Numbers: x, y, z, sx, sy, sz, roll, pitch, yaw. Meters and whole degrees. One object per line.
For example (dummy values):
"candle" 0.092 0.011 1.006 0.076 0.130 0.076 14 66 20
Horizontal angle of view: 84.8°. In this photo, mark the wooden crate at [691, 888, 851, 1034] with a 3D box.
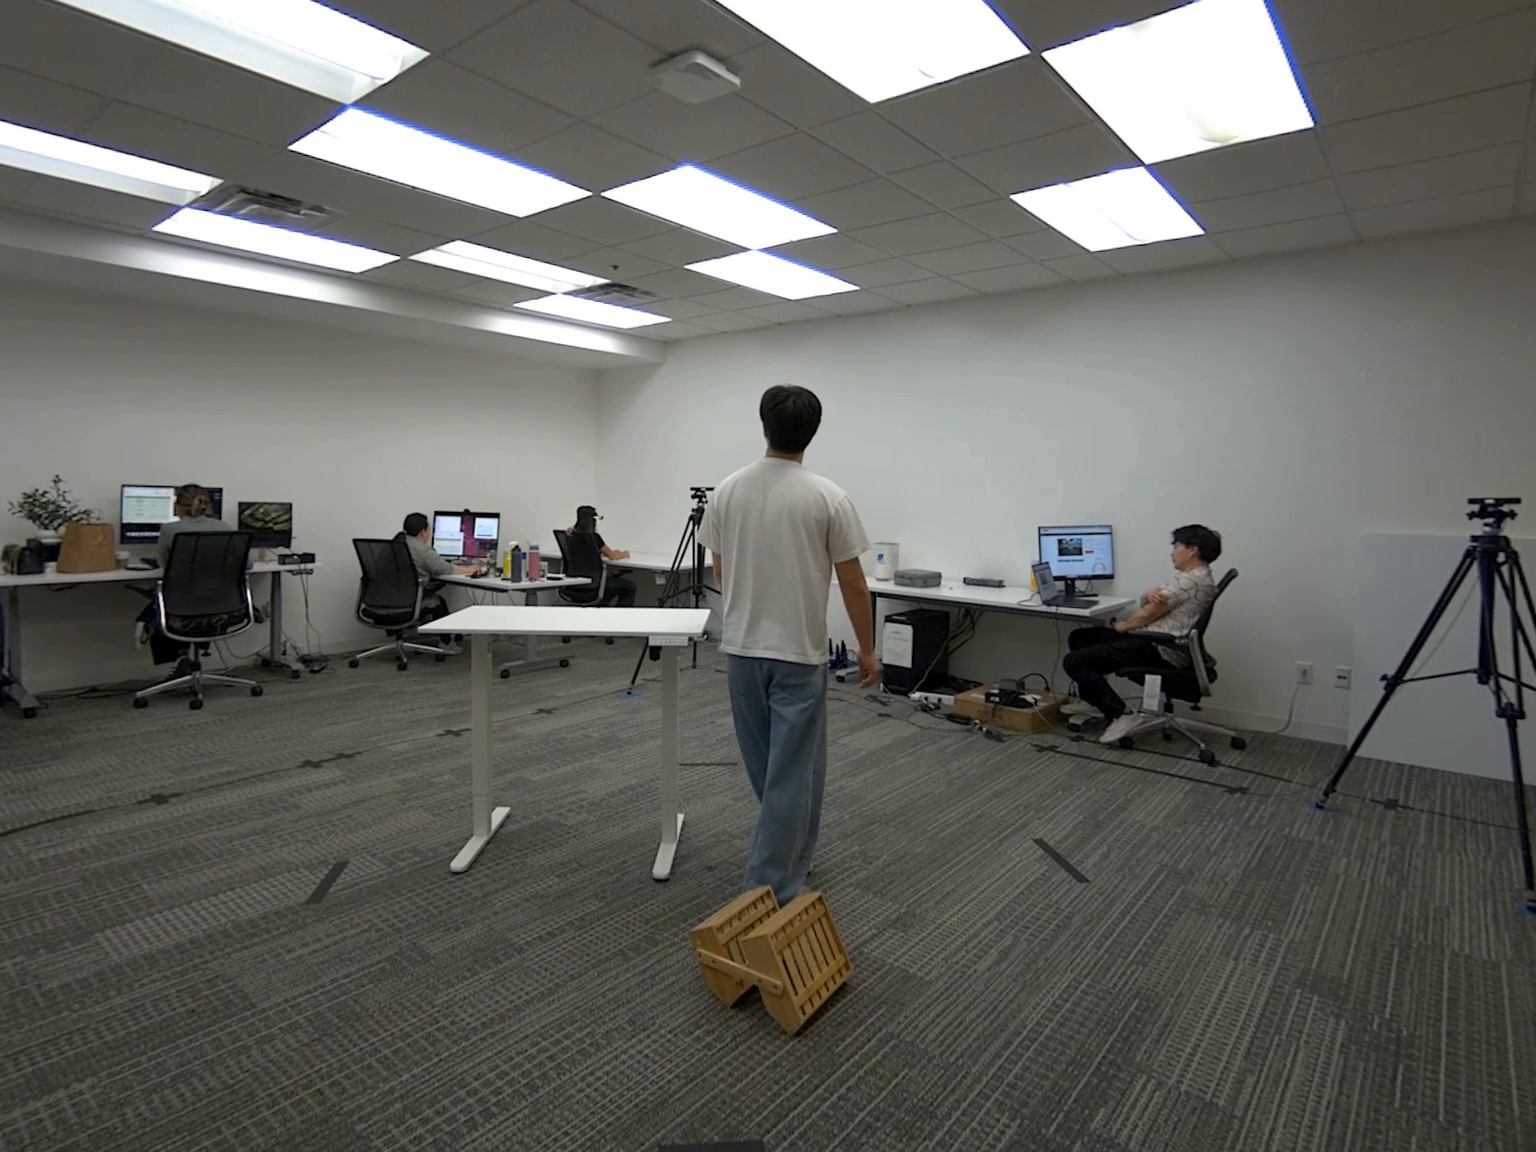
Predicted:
"wooden crate" 0.004 1.056 2.368 0.276 0.307 0.315 -29 -13 31
